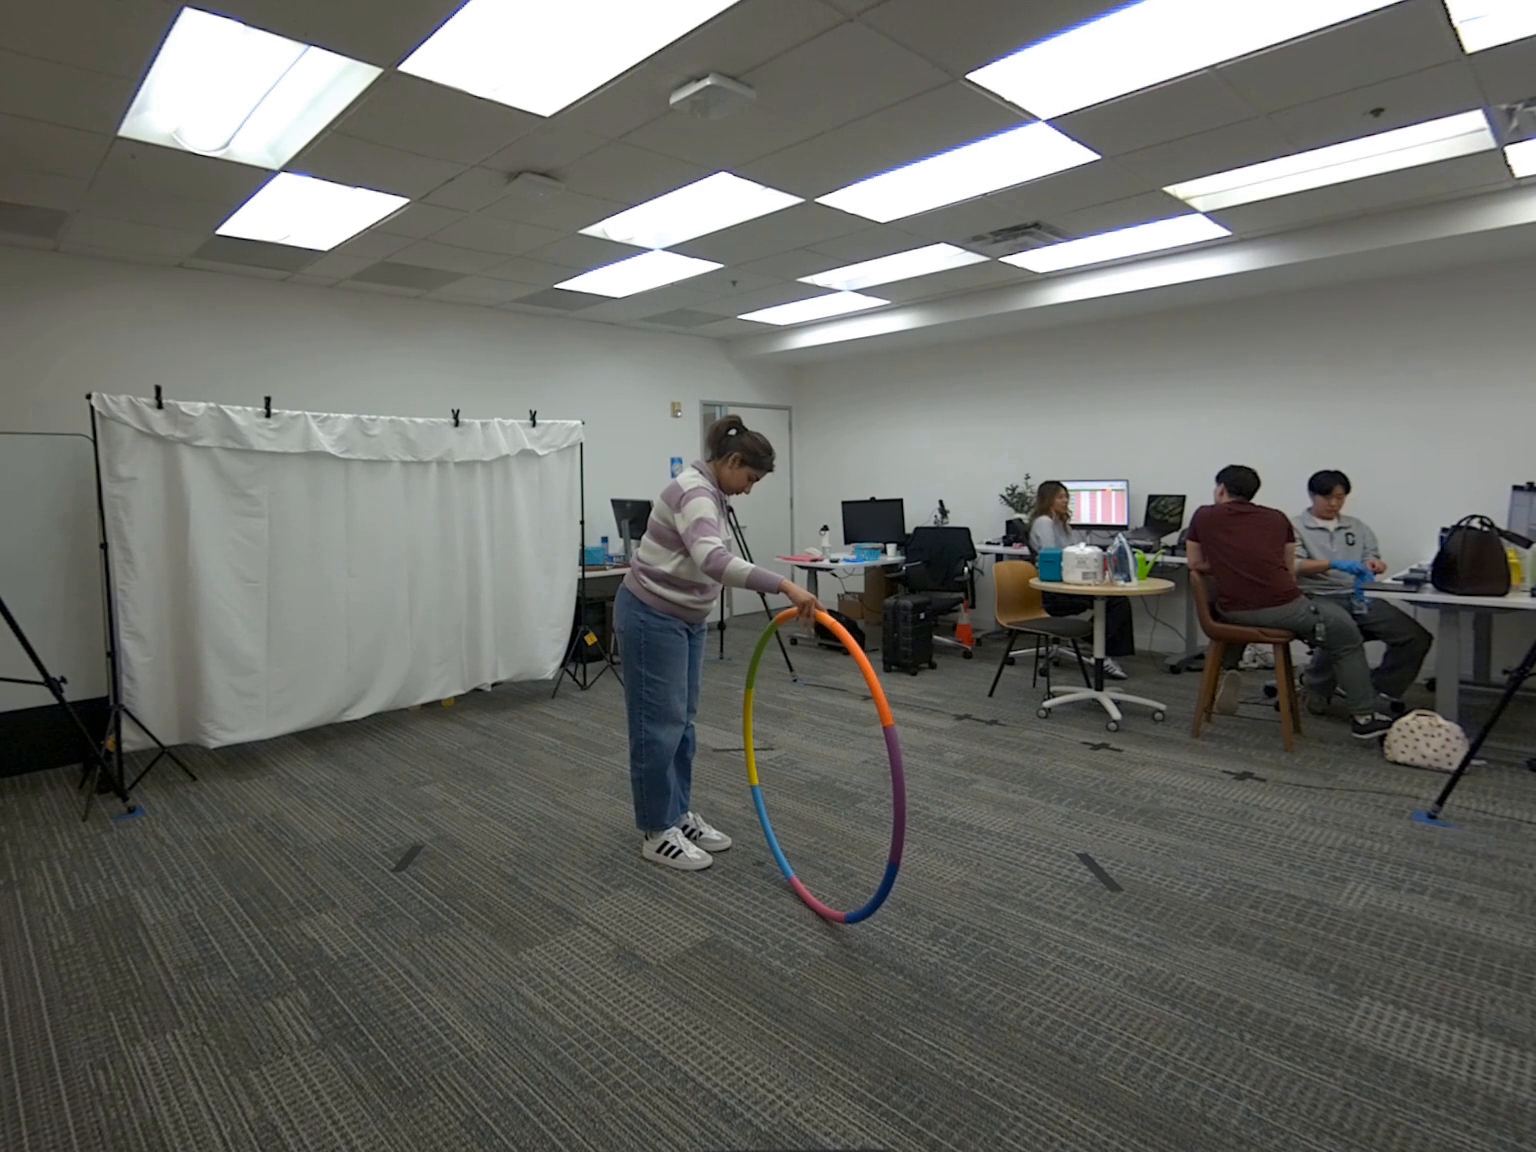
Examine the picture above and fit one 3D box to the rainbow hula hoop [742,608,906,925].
[{"bbox_3d":[0.145,0.595,2.753,0.035,0.975,1.003,-2,5,-26],"label":"rainbow hula hoop"}]
